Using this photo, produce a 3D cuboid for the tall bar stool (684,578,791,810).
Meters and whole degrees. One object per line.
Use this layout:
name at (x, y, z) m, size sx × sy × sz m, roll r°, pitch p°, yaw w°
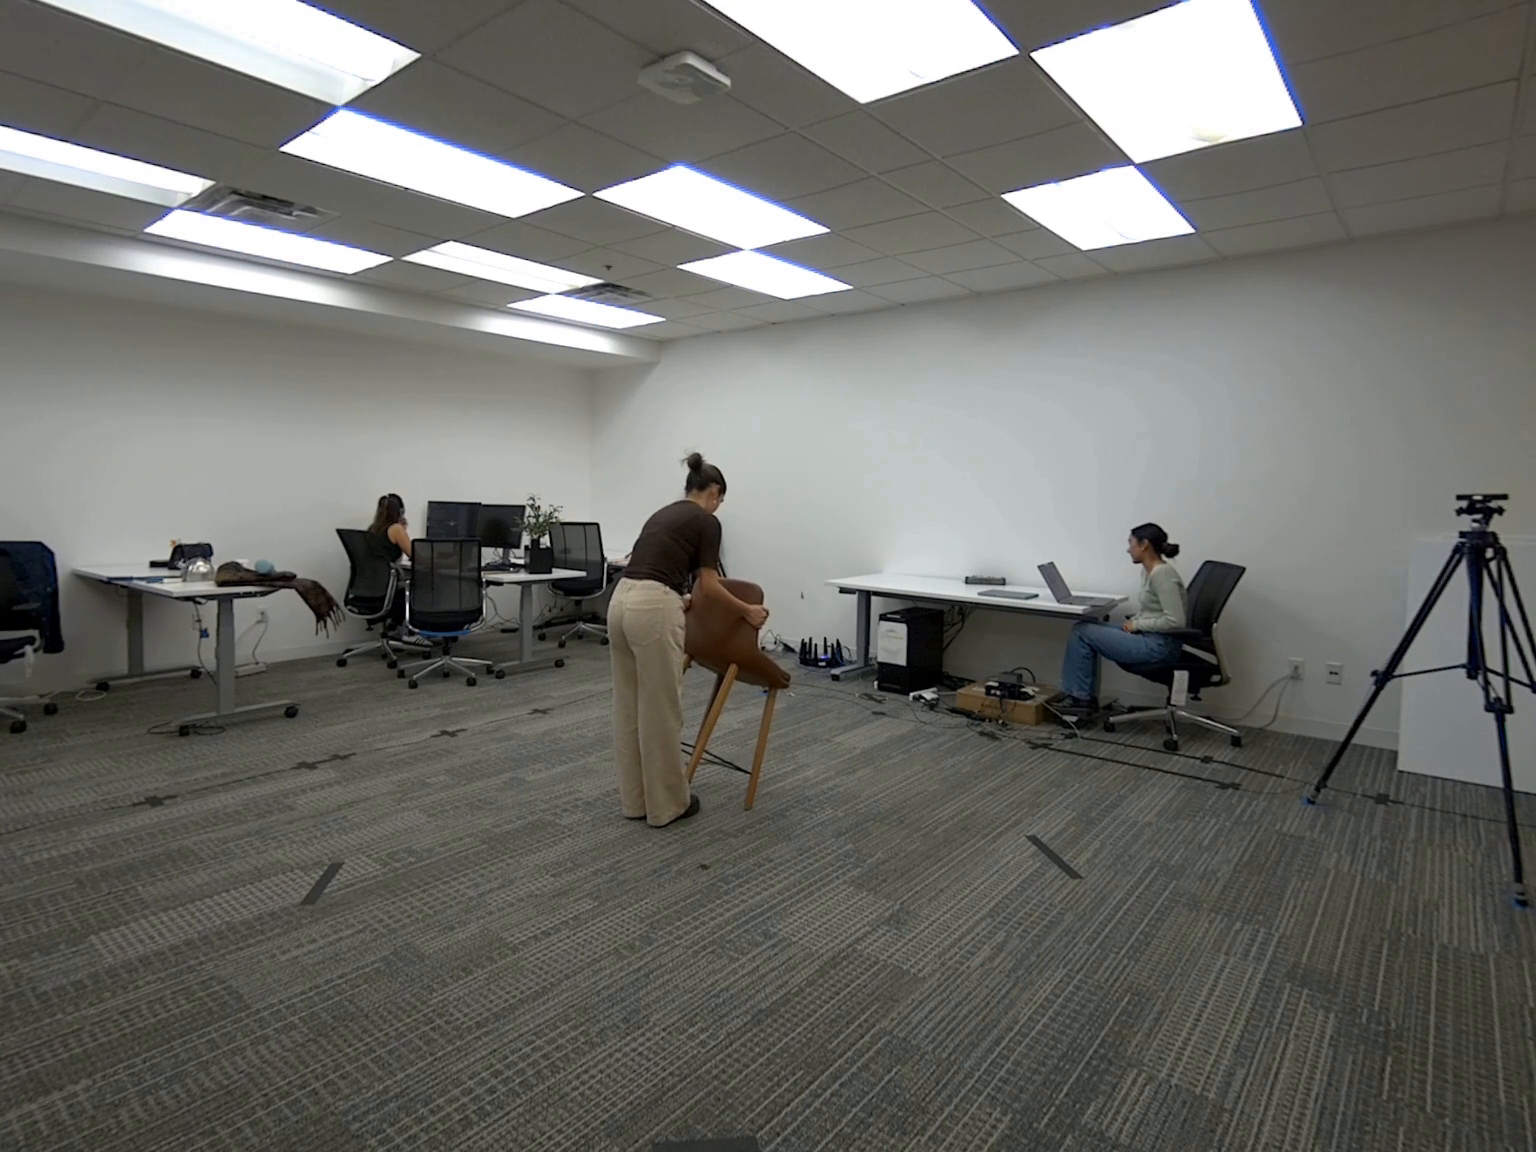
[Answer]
tall bar stool at (-0.219, 0.507, 3.819) m, size 0.471 × 0.899 × 0.448 m, roll 2°, pitch -24°, yaw 41°
